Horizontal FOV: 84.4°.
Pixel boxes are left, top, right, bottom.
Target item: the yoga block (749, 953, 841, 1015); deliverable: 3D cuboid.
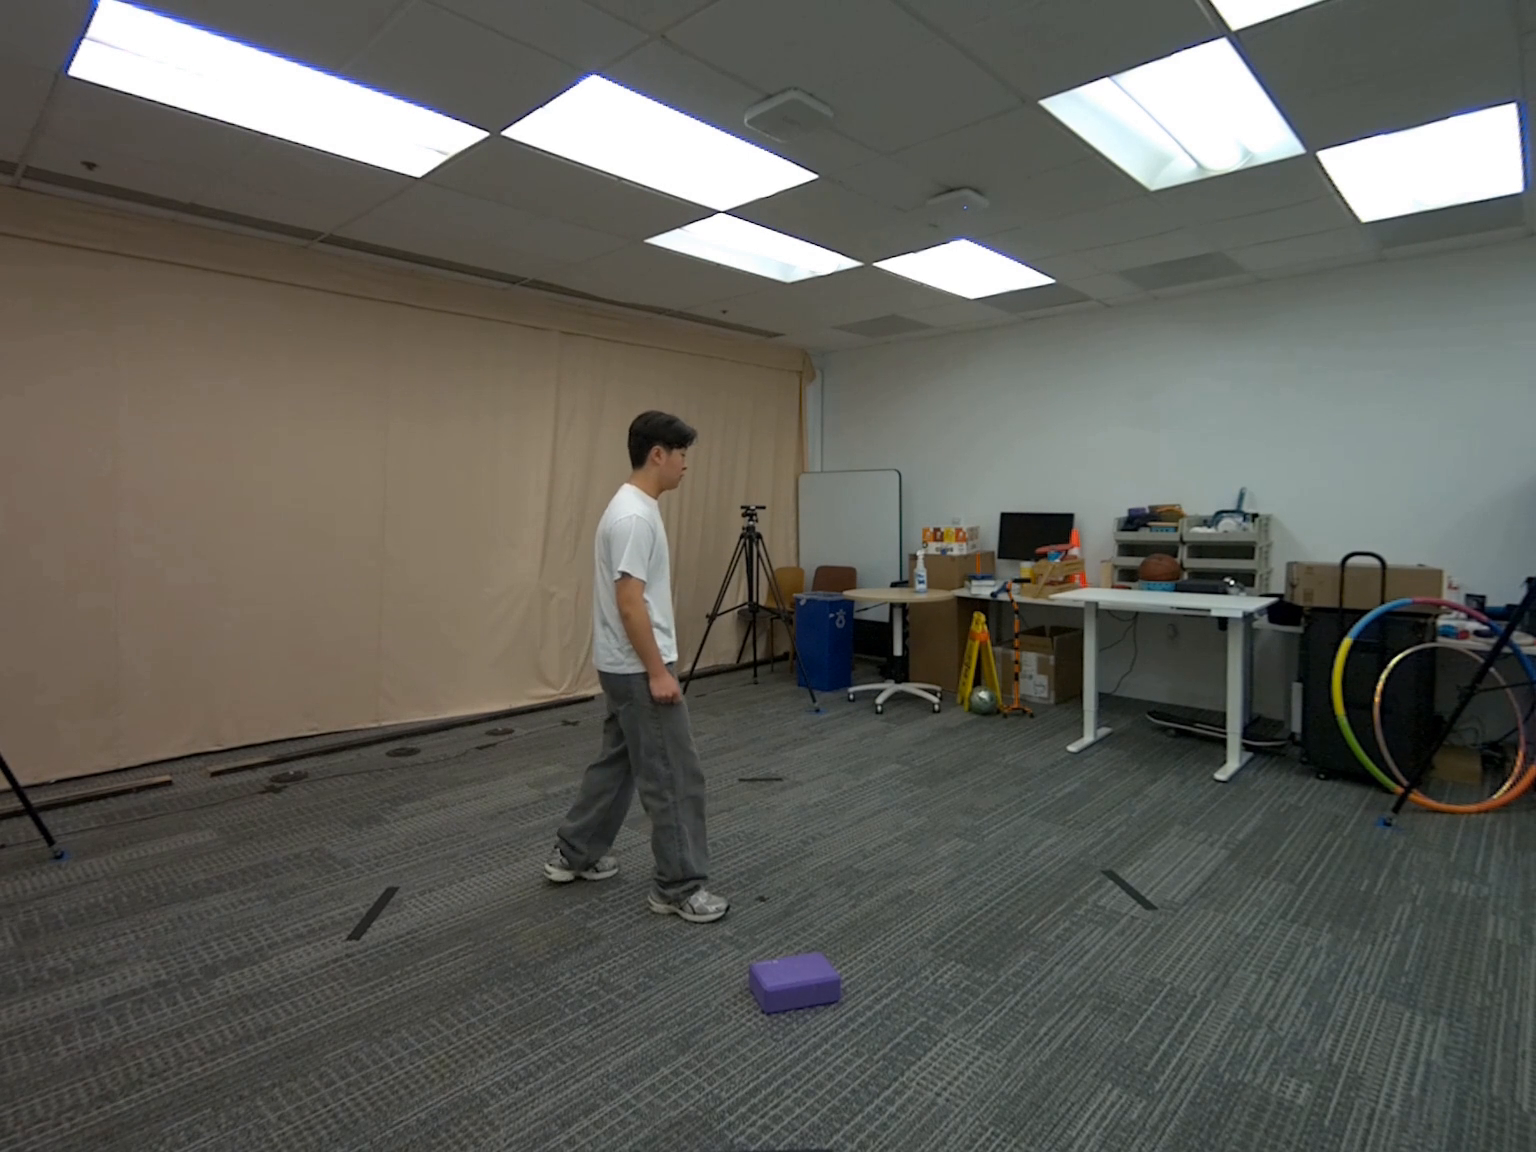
[{"bbox_3d":[0.084,1.154,2.391,0.225,0.076,0.152,-1,4,-16],"label":"yoga block"}]
